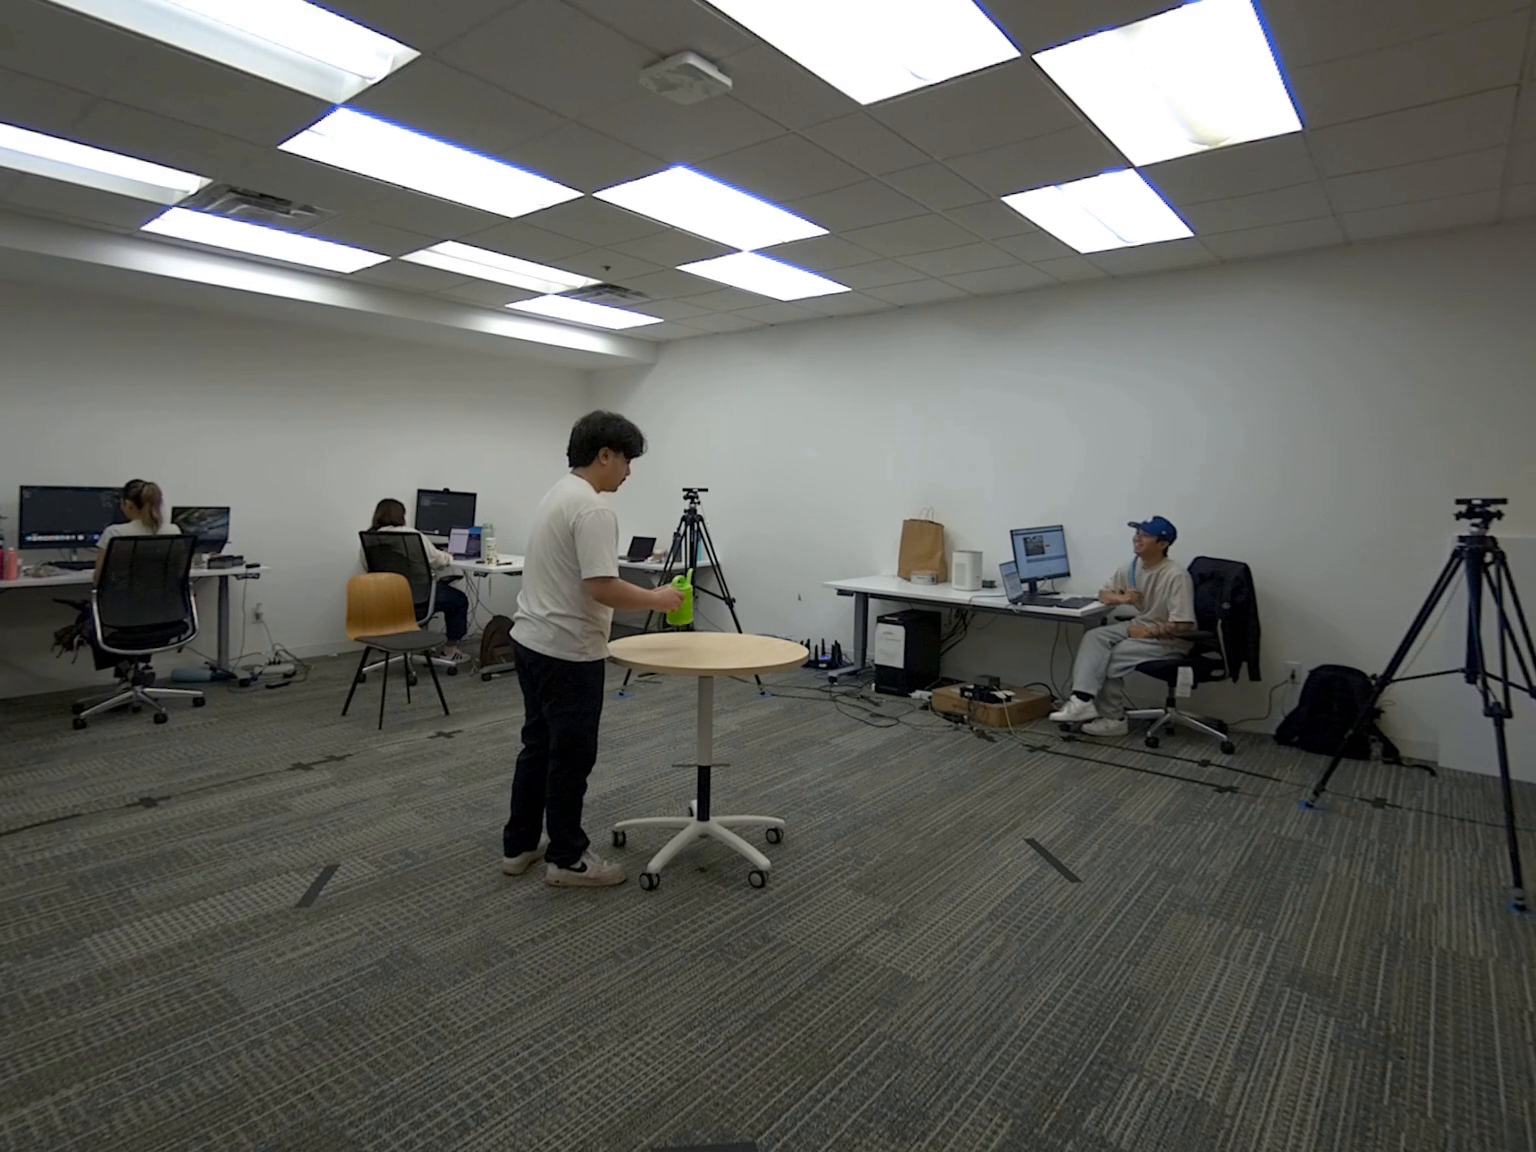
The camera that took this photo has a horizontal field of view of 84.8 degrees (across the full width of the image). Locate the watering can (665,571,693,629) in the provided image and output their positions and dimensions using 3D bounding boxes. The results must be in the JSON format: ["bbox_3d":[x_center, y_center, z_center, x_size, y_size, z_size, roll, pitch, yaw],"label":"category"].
[{"bbox_3d":[-0.330,0.082,3.190,0.100,0.176,0.273,2,8,26],"label":"watering can"}]
